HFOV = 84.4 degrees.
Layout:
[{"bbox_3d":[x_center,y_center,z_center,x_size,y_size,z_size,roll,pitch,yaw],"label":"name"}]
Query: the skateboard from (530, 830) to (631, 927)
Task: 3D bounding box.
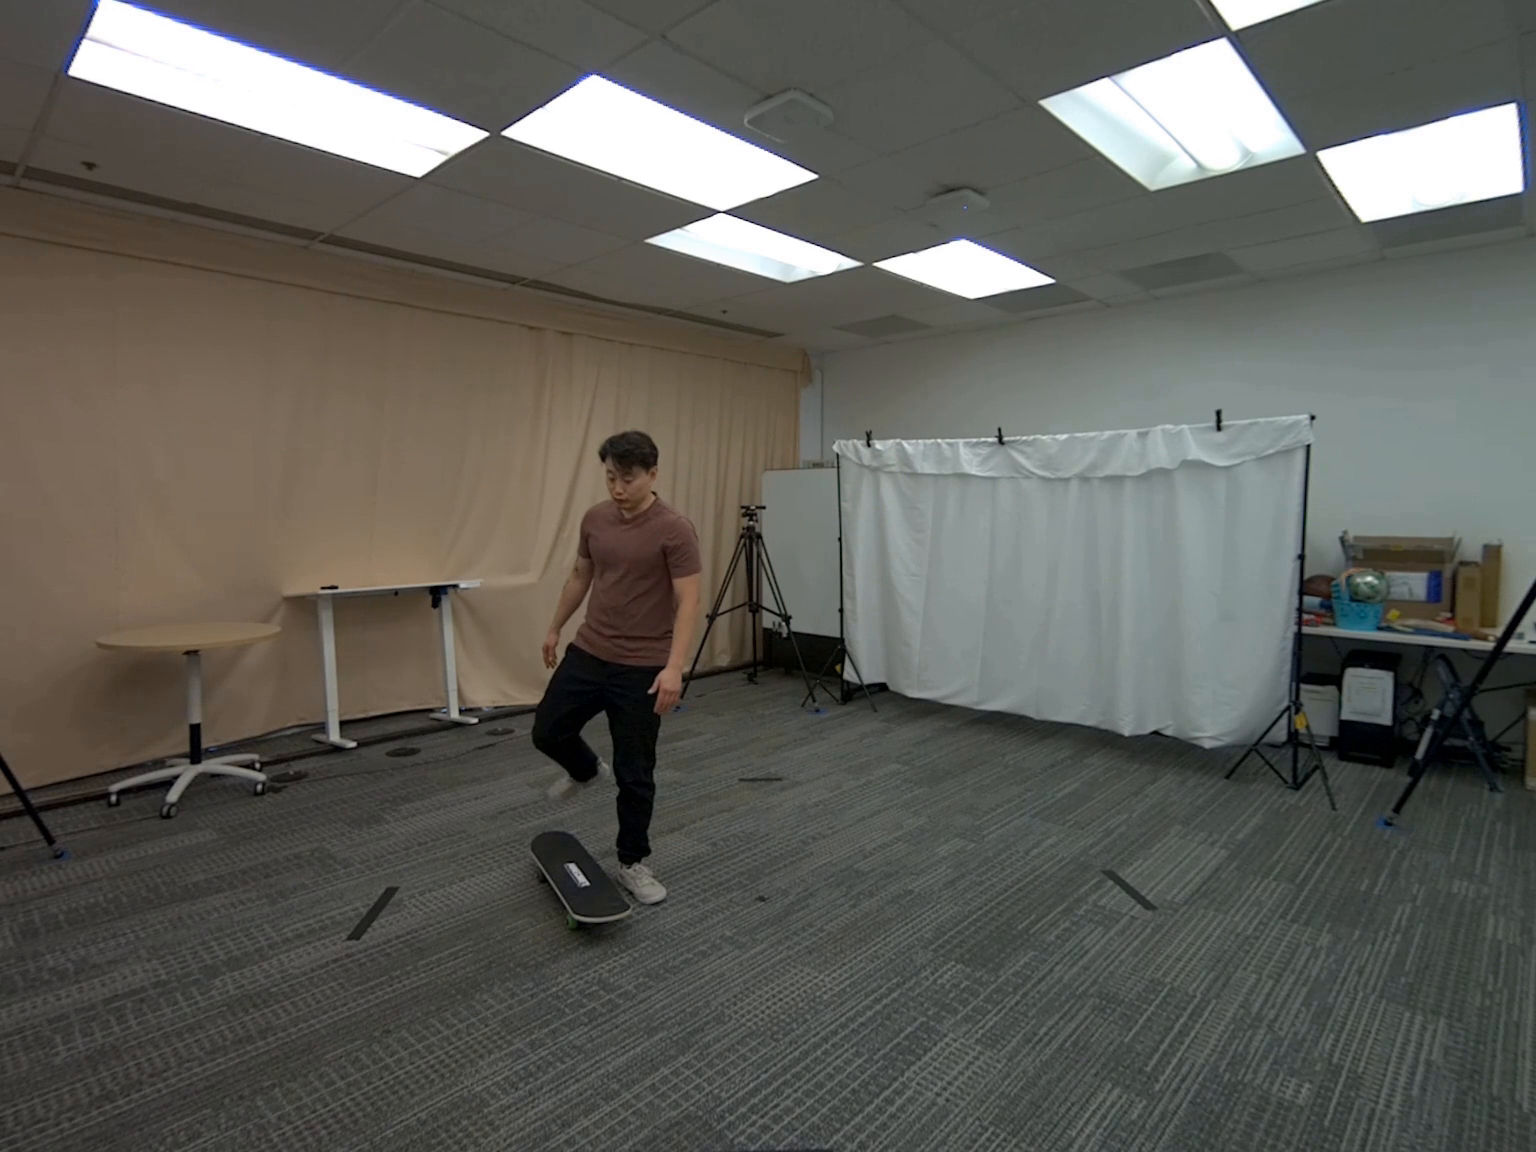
[{"bbox_3d":[-0.677,1.089,2.986,0.188,0.110,0.807,-3,5,-28],"label":"skateboard"}]
